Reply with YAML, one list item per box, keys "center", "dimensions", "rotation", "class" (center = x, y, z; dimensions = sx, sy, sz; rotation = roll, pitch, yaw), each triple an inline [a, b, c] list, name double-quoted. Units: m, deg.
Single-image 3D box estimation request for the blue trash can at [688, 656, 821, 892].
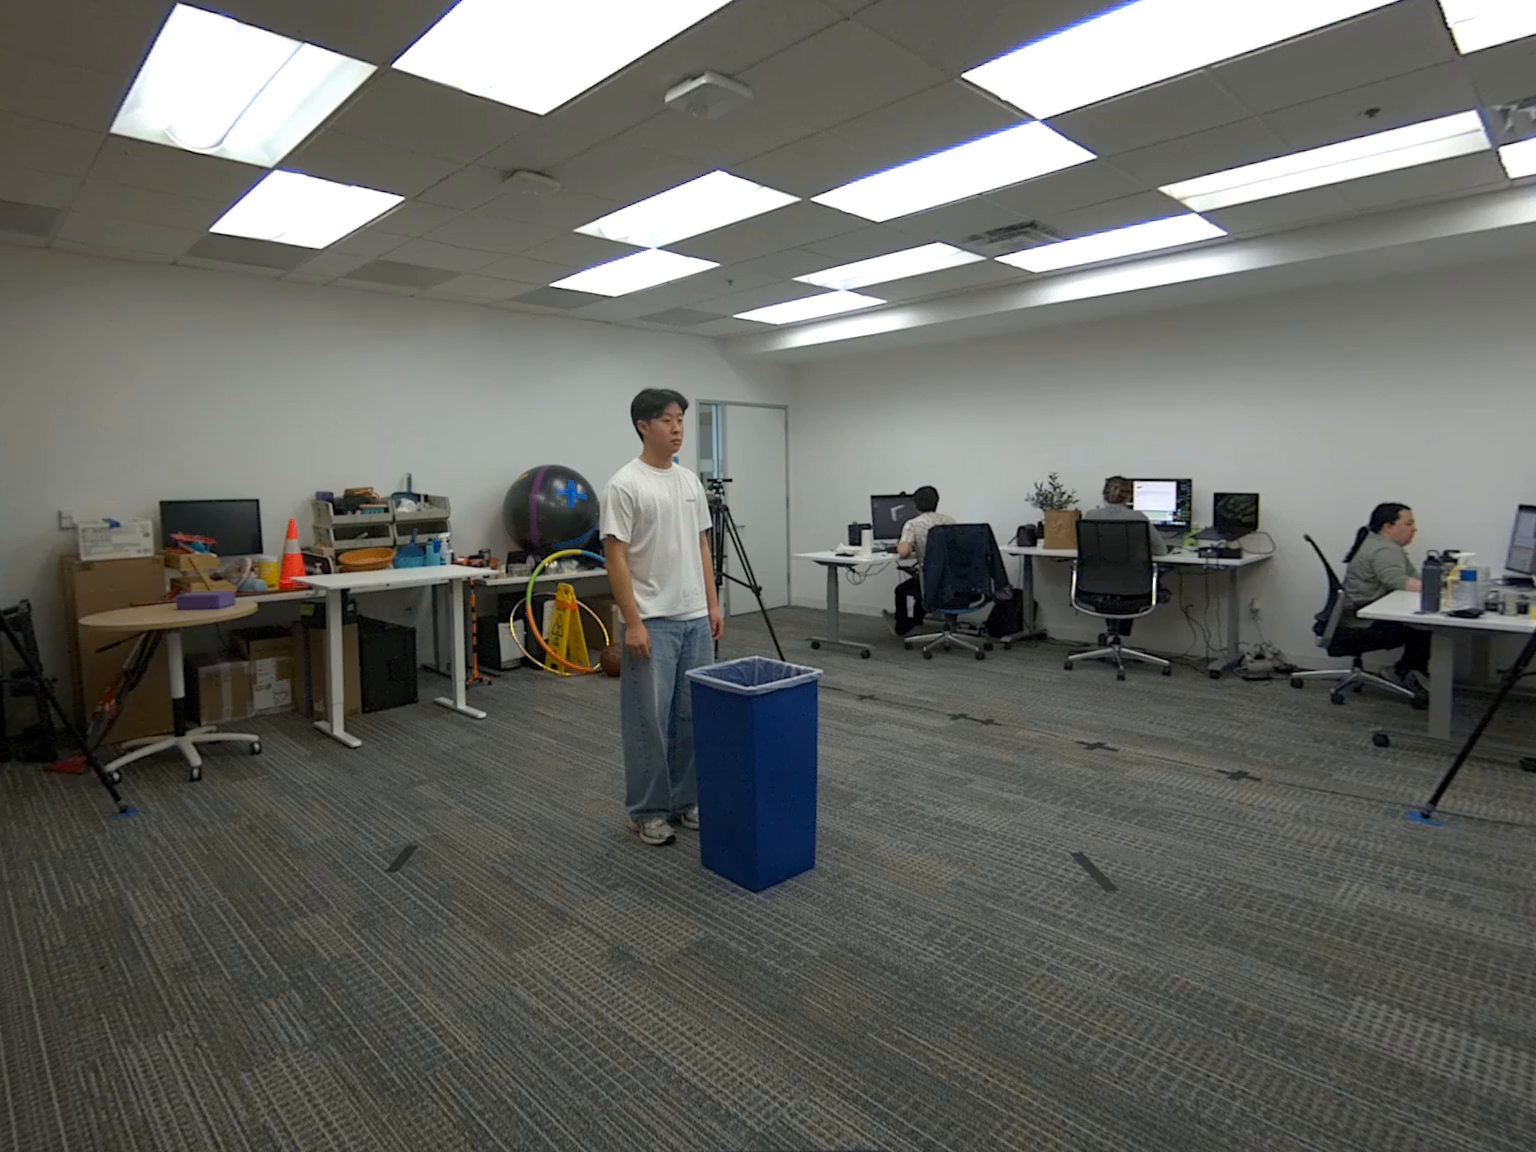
- center: [-0.041, 0.693, 3.056]
  dimensions: [0.364, 0.711, 0.389]
  rotation: [-4, 5, -43]
  class: "blue trash can"
